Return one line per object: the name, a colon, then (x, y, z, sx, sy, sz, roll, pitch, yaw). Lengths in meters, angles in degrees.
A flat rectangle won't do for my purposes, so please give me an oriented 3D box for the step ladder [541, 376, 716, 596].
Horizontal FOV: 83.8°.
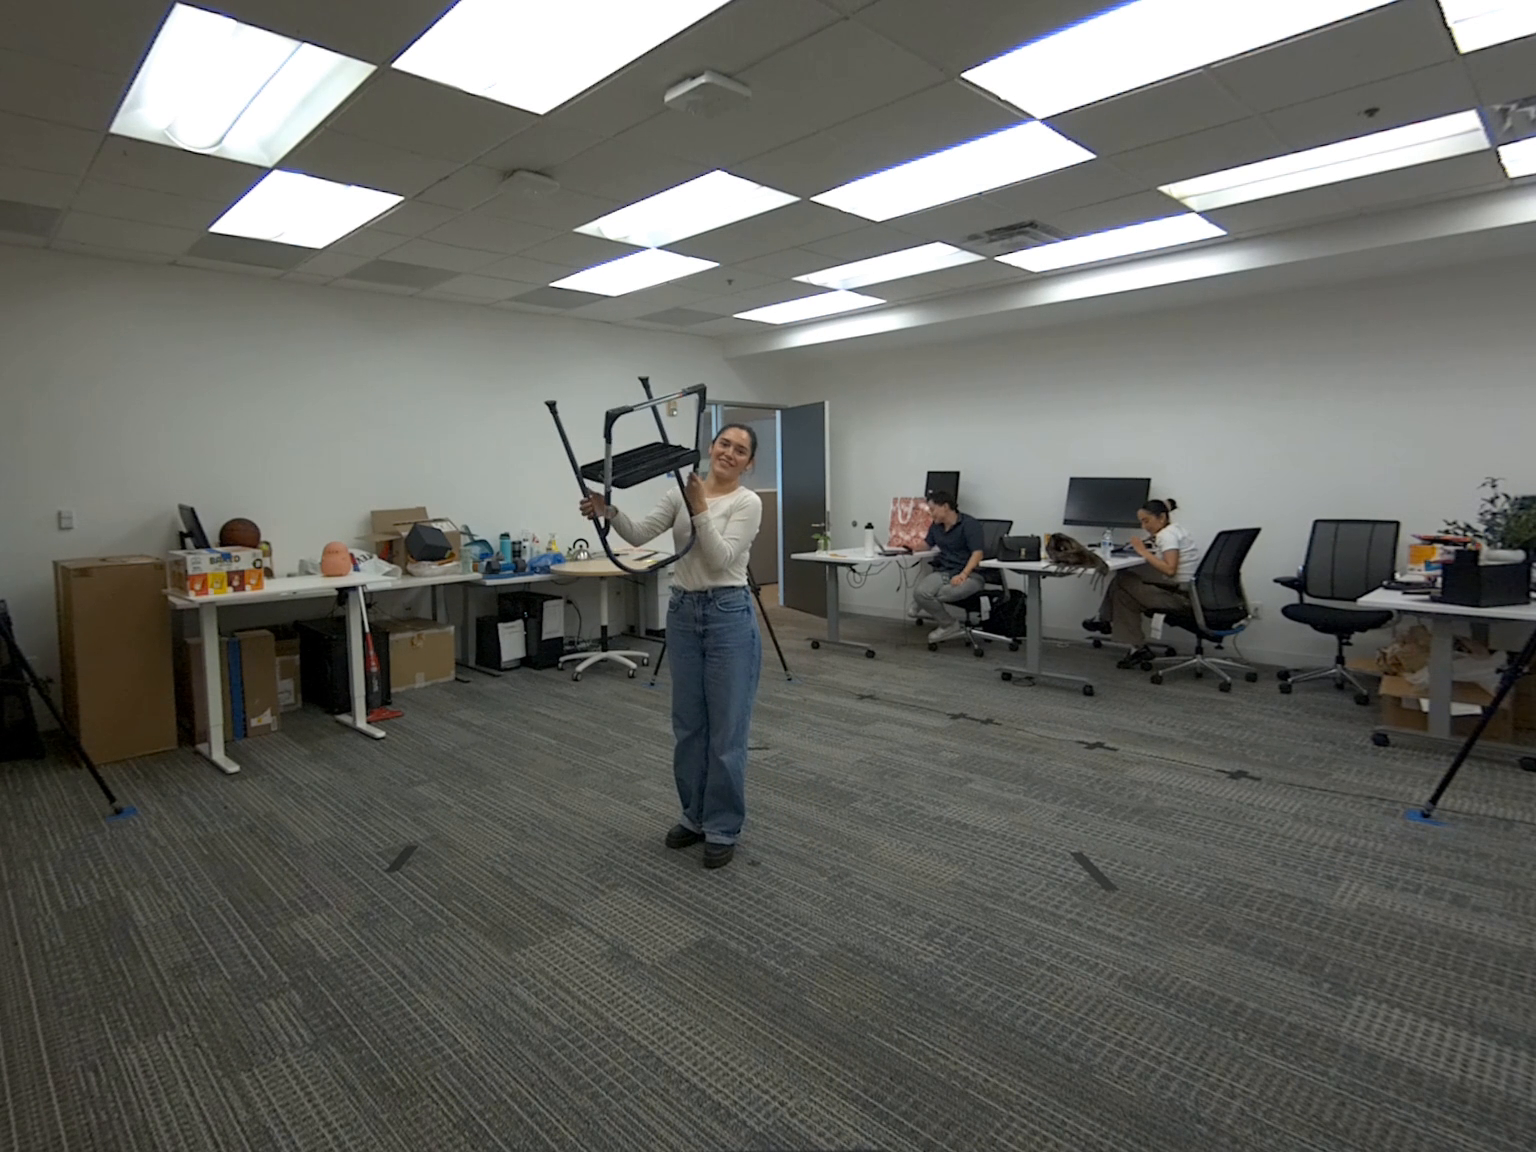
step ladder: (-0.444, -0.328, 2.921, 0.362, 0.594, 0.424, 16, 30, 42)
